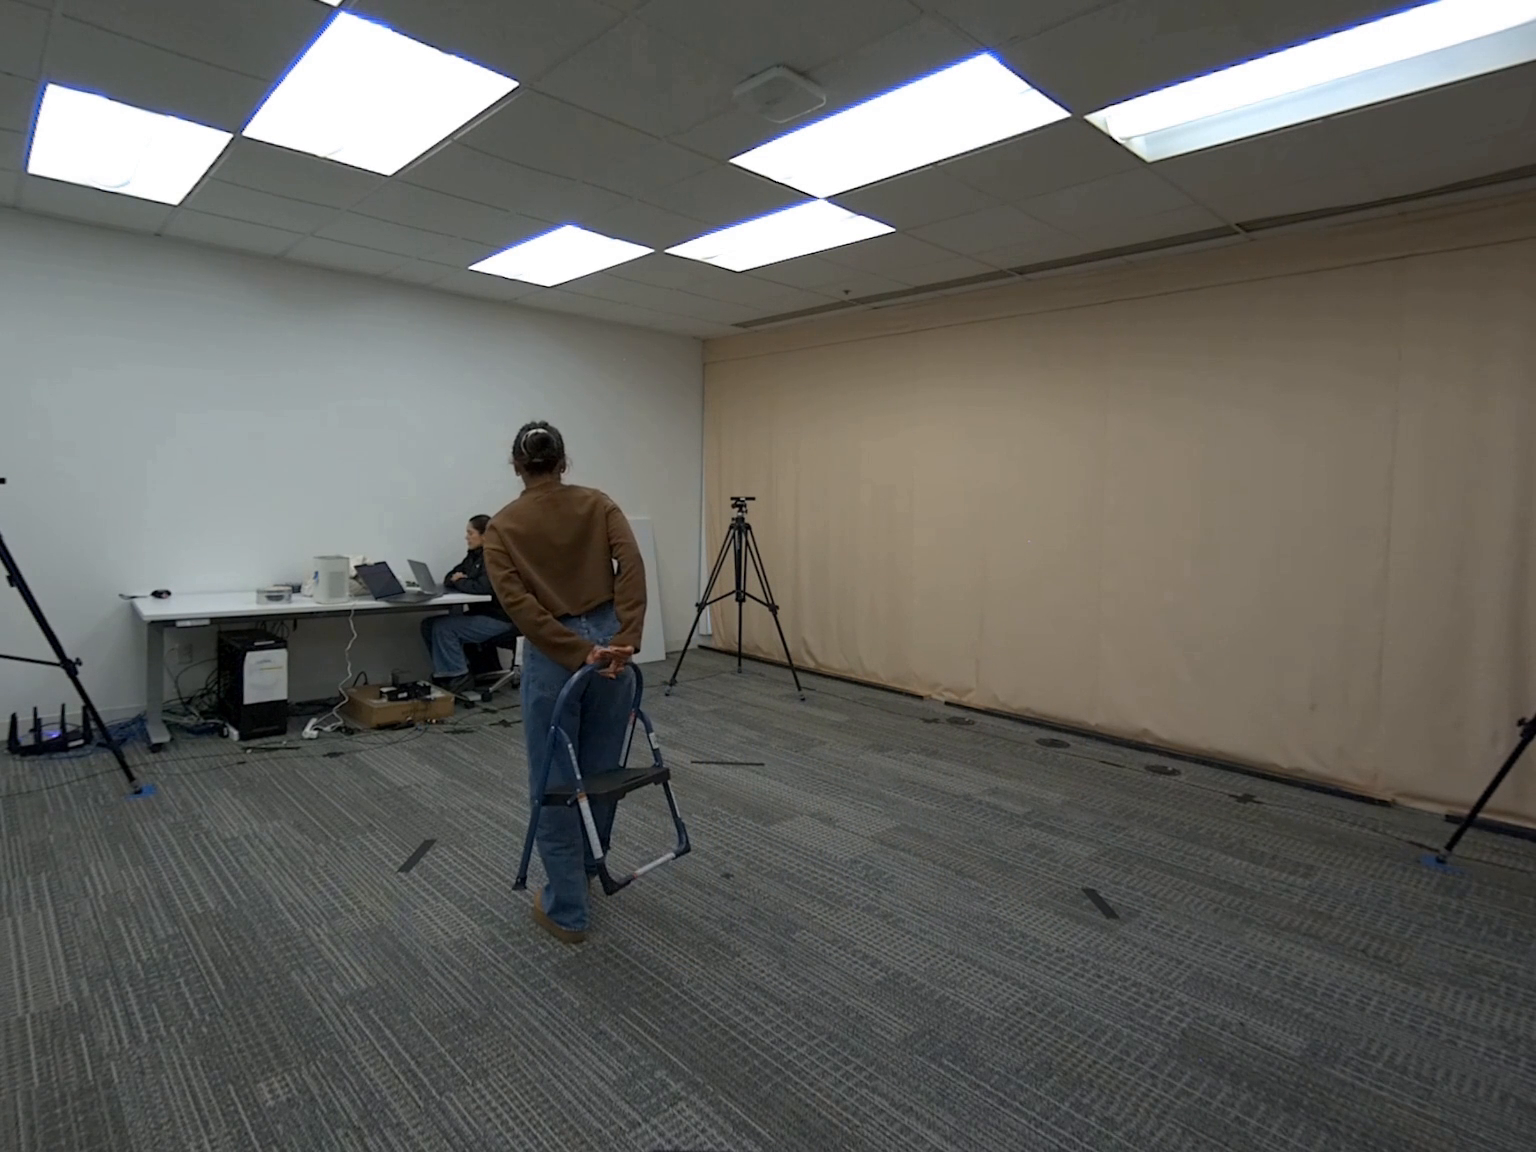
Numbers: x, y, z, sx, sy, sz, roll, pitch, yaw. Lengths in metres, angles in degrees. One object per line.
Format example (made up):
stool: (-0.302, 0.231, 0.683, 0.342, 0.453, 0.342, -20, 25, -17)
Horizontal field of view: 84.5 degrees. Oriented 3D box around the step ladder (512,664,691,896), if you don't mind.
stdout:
step ladder: (-0.511, 0.573, 2.478, 0.354, 0.608, 0.423, -8, -3, 23)
